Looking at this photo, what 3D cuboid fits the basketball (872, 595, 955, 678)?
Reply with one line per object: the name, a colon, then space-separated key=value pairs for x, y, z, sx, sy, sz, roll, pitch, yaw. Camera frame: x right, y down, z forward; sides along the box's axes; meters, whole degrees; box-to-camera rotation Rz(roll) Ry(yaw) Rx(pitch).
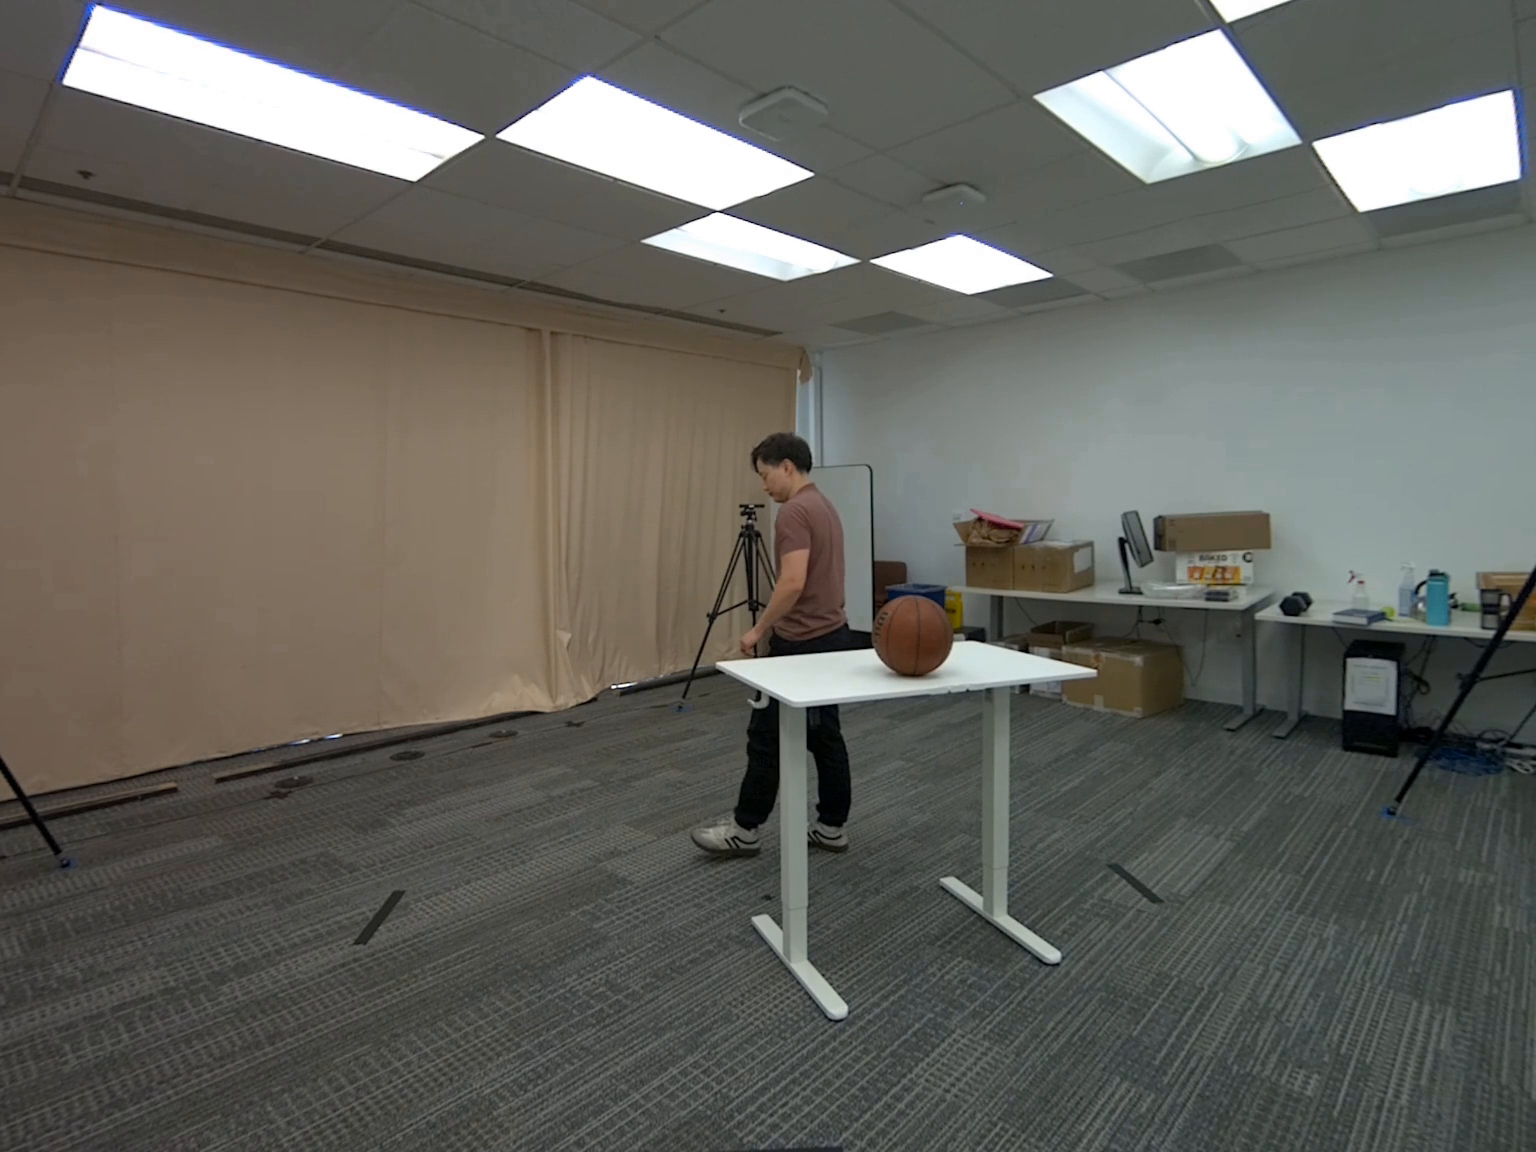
basketball: x=0.422 y=0.175 z=2.483 sx=0.236 sy=0.235 sz=0.237 roll=-1 pitch=4 yaw=-2
